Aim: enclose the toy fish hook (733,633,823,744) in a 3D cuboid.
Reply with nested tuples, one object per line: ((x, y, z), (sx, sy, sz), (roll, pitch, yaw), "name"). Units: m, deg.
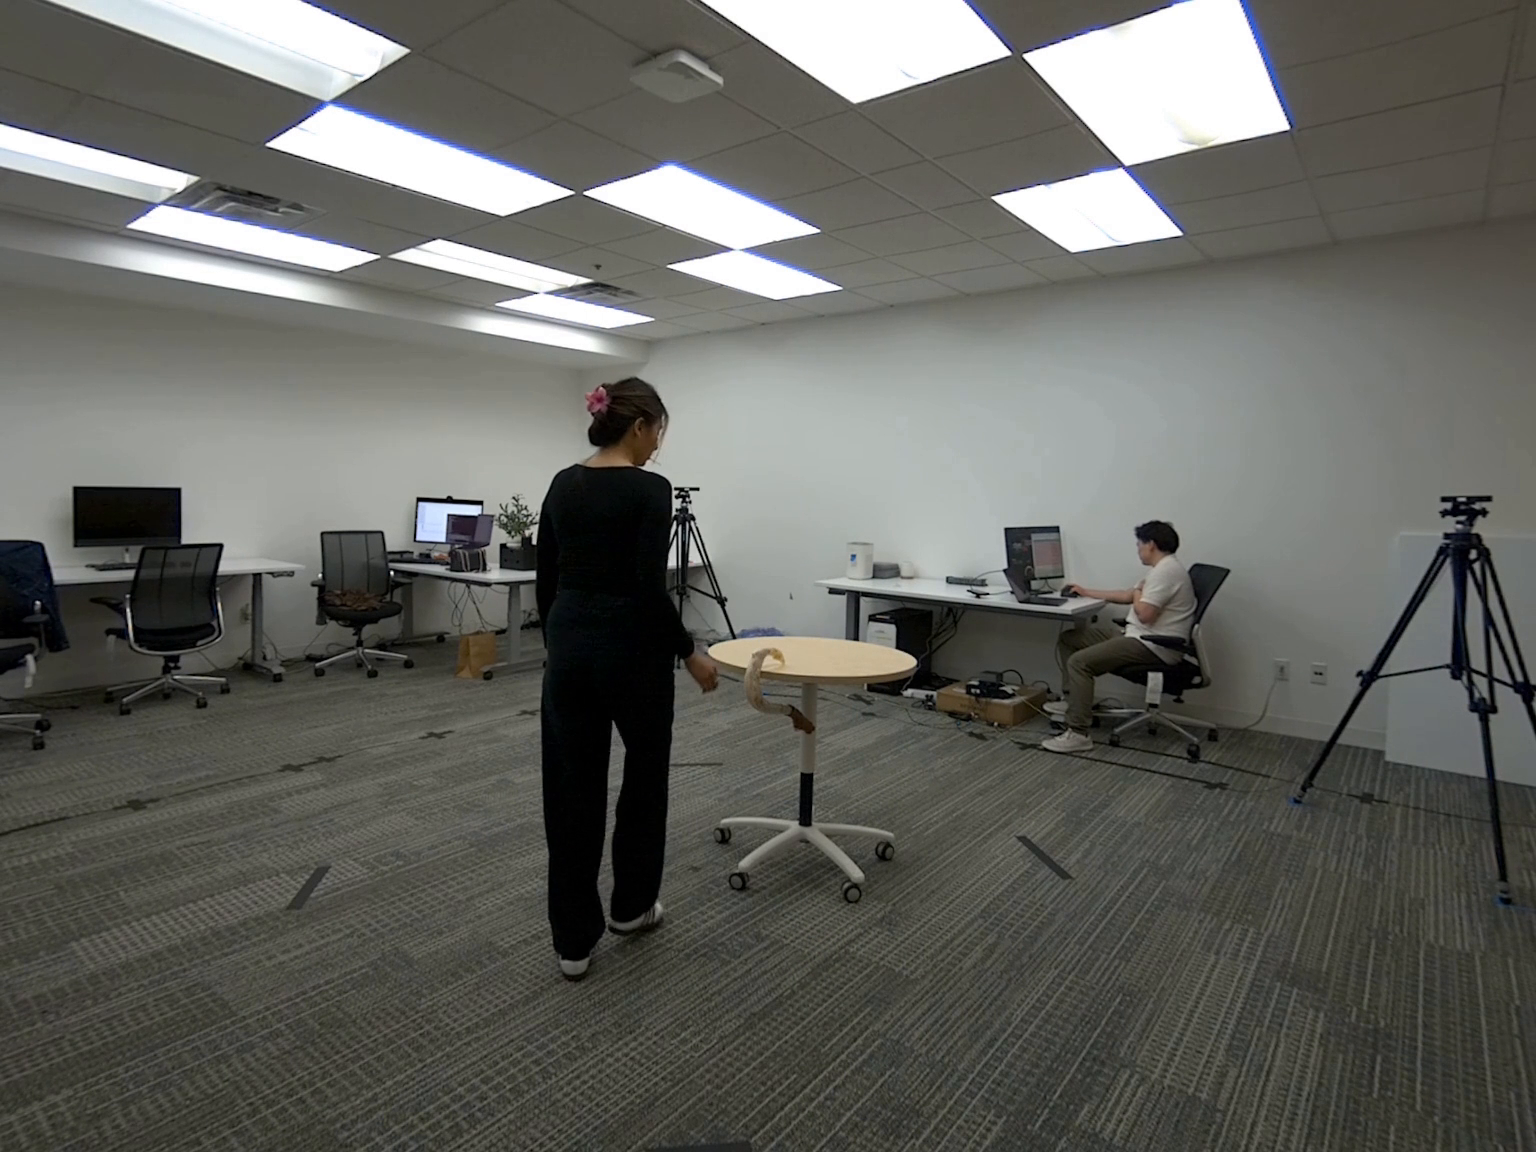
((0.046, 0.402, 2.956), (0.050, 0.227, 0.485), (1, -26, 31), "toy fish hook")
